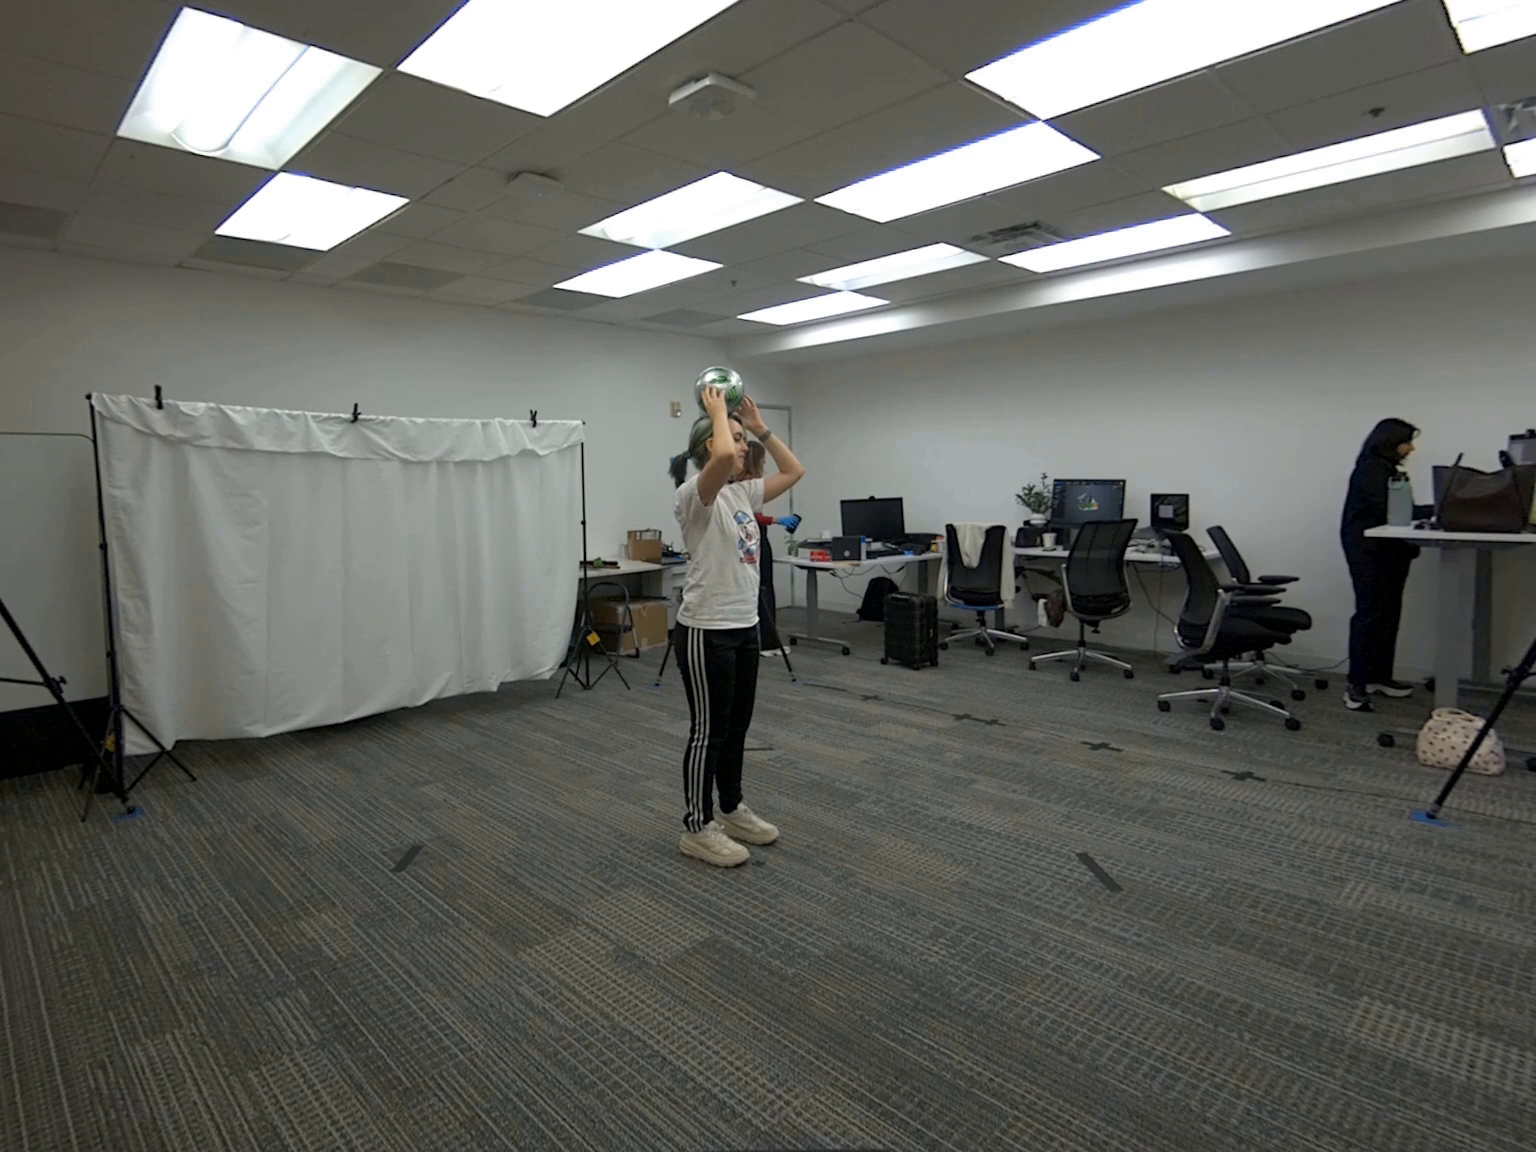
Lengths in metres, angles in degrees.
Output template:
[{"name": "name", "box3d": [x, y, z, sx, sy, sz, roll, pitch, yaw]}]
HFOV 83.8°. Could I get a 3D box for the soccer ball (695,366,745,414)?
[{"name": "soccer ball", "box3d": [-0.182, -0.684, 3.179, 0.187, 0.187, 0.188, -1, 5, -2]}]
